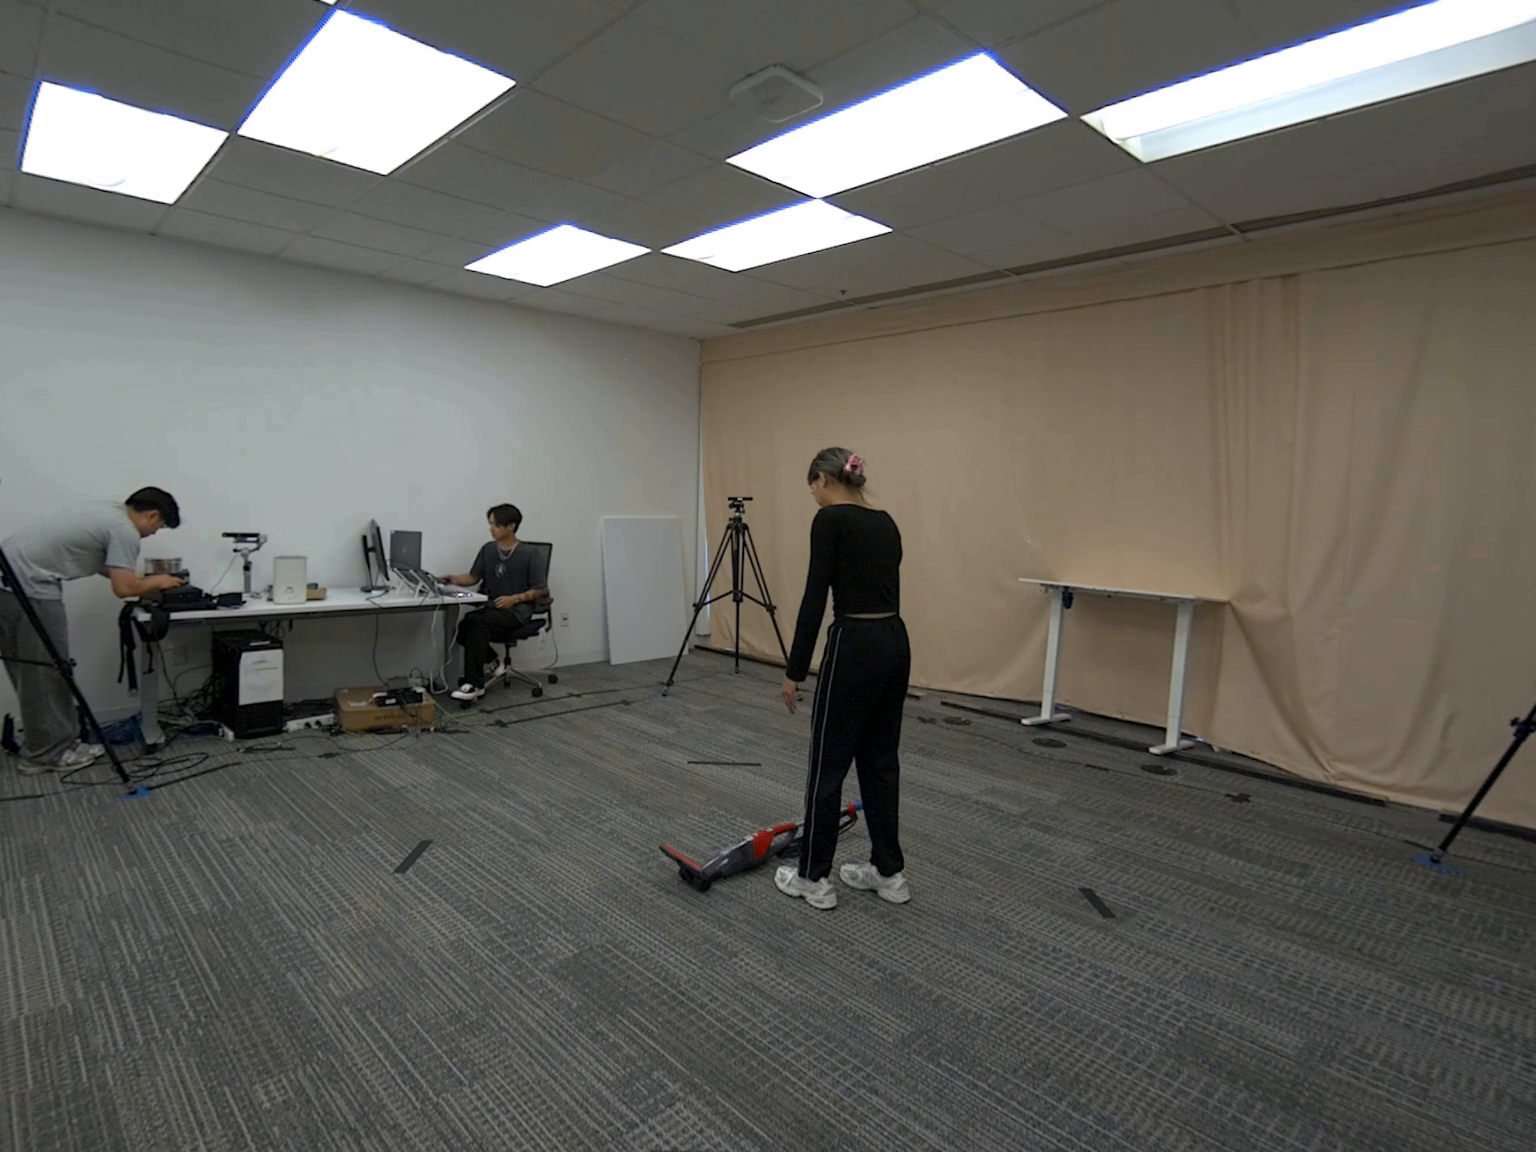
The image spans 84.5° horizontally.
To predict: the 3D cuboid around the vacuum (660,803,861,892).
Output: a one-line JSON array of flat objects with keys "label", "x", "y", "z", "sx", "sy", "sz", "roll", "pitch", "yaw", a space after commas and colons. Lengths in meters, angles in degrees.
[{"label": "vacuum", "x": 0.090, "y": 1.035, "z": 3.330, "sx": 1.025, "sy": 0.143, "sz": 0.259, "roll": -2, "pitch": 9, "yaw": -40}]
